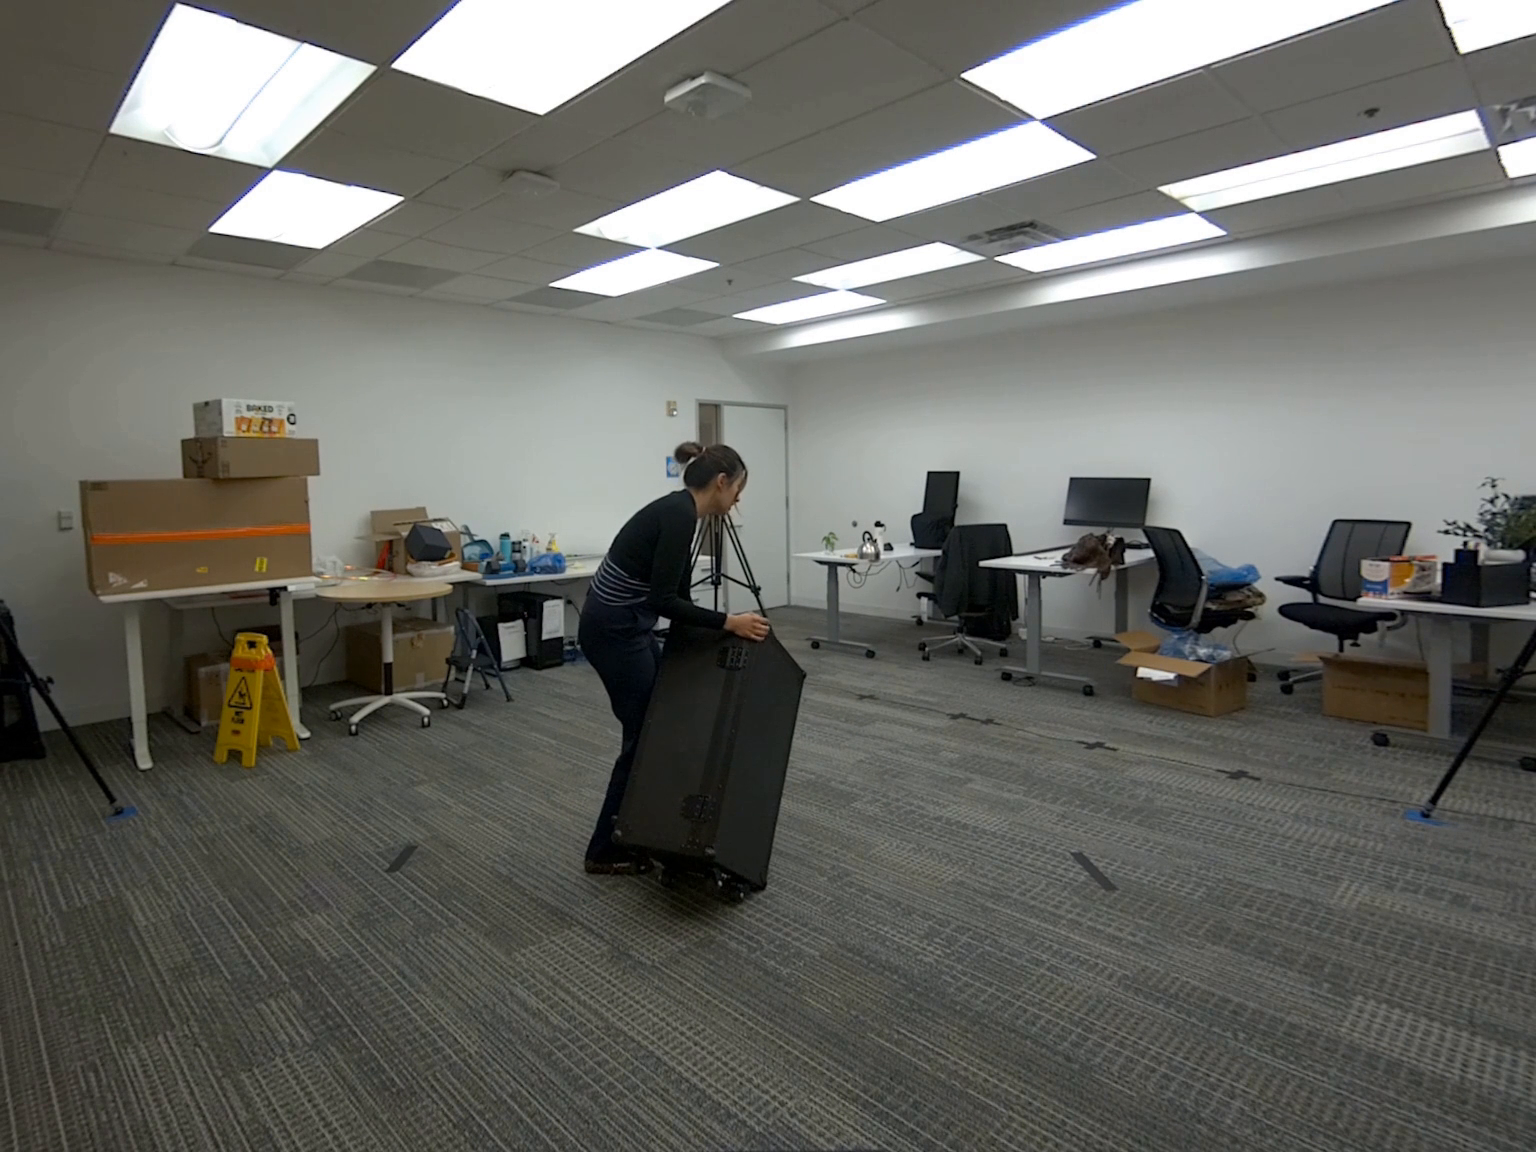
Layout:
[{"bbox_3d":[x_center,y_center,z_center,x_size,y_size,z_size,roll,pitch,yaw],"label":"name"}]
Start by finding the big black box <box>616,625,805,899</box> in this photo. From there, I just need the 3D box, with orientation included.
[{"bbox_3d":[-0.188,0.626,2.963,0.405,0.875,0.502,-1,-29,24],"label":"big black box"}]
